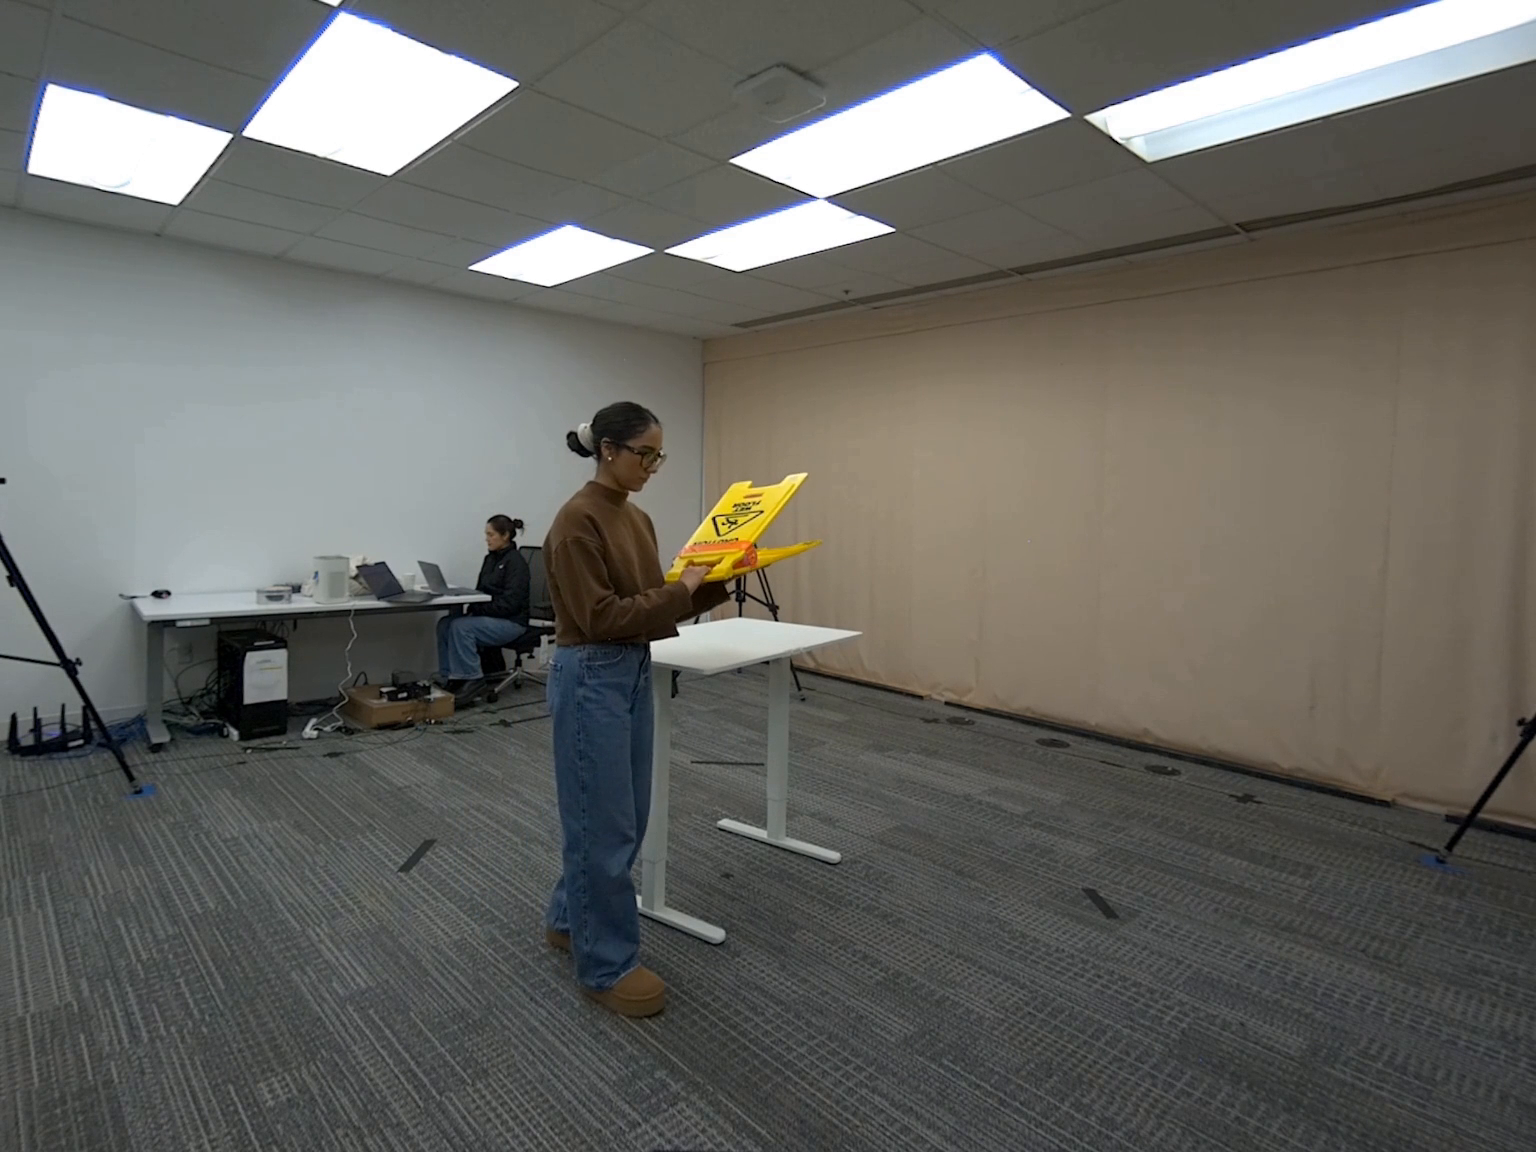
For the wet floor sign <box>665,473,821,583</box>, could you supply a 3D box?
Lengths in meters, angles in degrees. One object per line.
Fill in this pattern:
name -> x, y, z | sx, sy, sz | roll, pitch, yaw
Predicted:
wet floor sign -> -0.088, -0.095, 2.566 | 0.286, 0.286, 0.643 | -7, 15, 23
